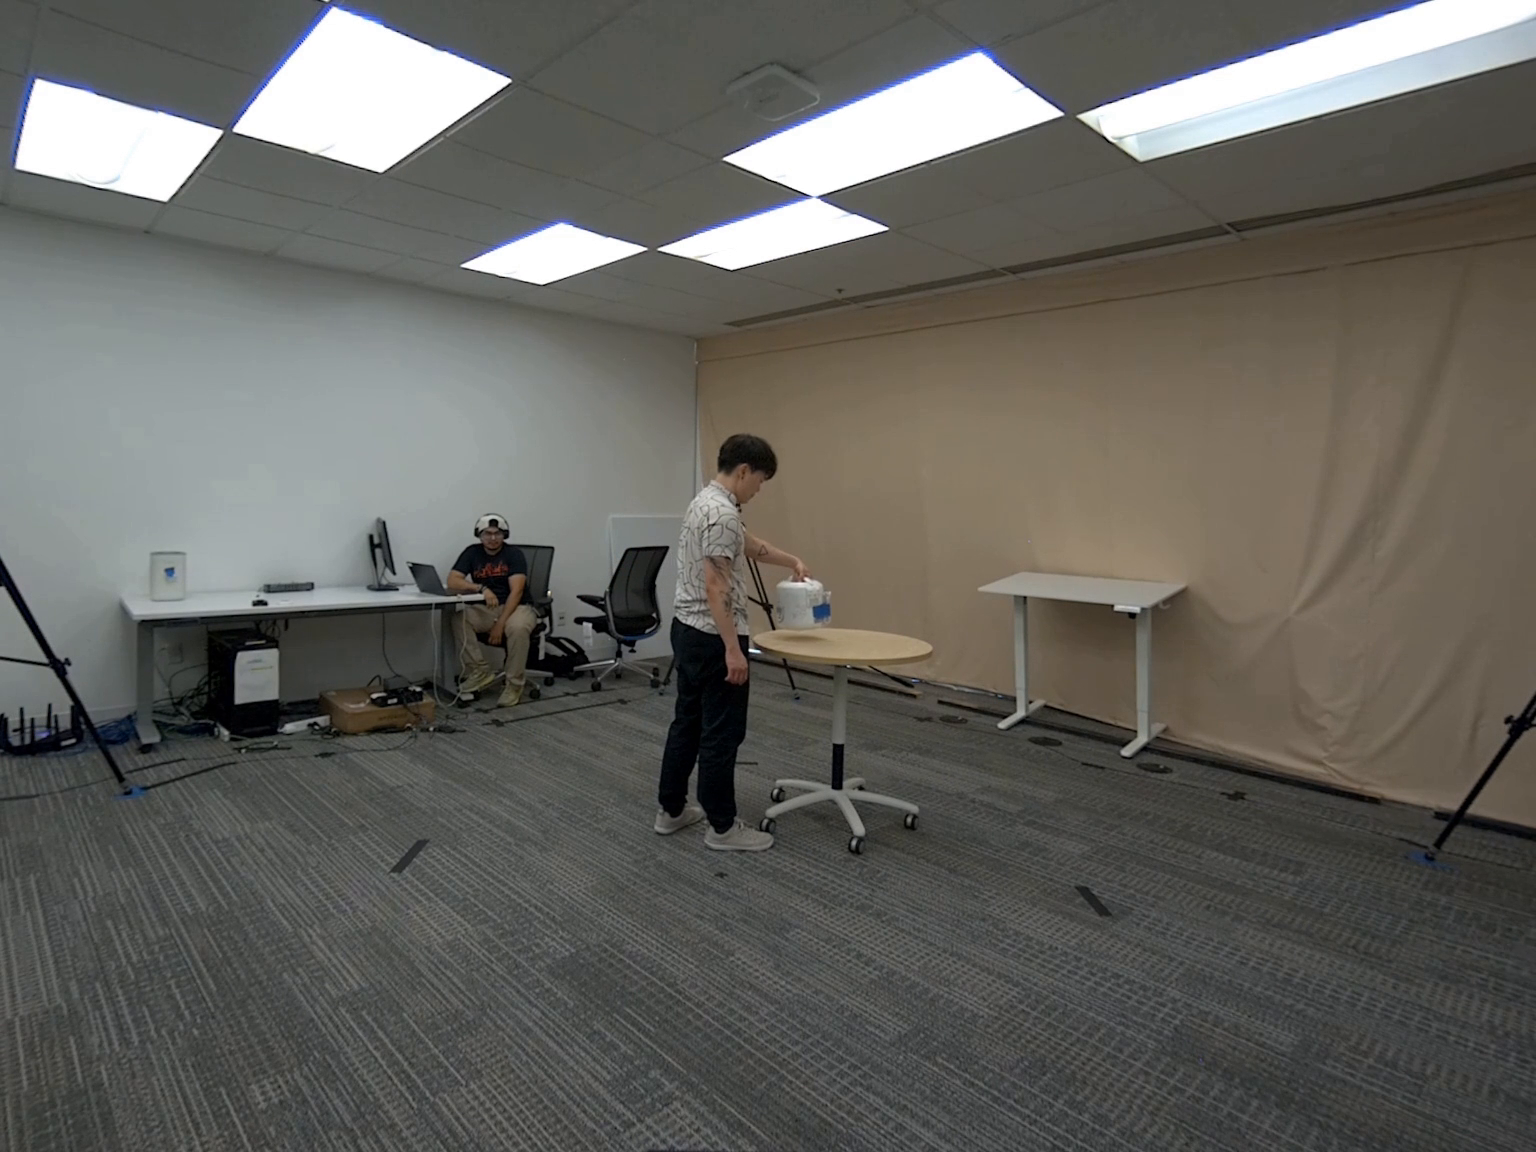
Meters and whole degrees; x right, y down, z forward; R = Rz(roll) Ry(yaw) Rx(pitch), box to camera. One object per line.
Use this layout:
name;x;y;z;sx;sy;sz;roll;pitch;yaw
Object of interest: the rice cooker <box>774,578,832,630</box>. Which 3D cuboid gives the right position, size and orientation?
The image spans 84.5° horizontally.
rice cooker;0.127;0.112;3.689;0.213;0.232;0.225;-2;3;-32
